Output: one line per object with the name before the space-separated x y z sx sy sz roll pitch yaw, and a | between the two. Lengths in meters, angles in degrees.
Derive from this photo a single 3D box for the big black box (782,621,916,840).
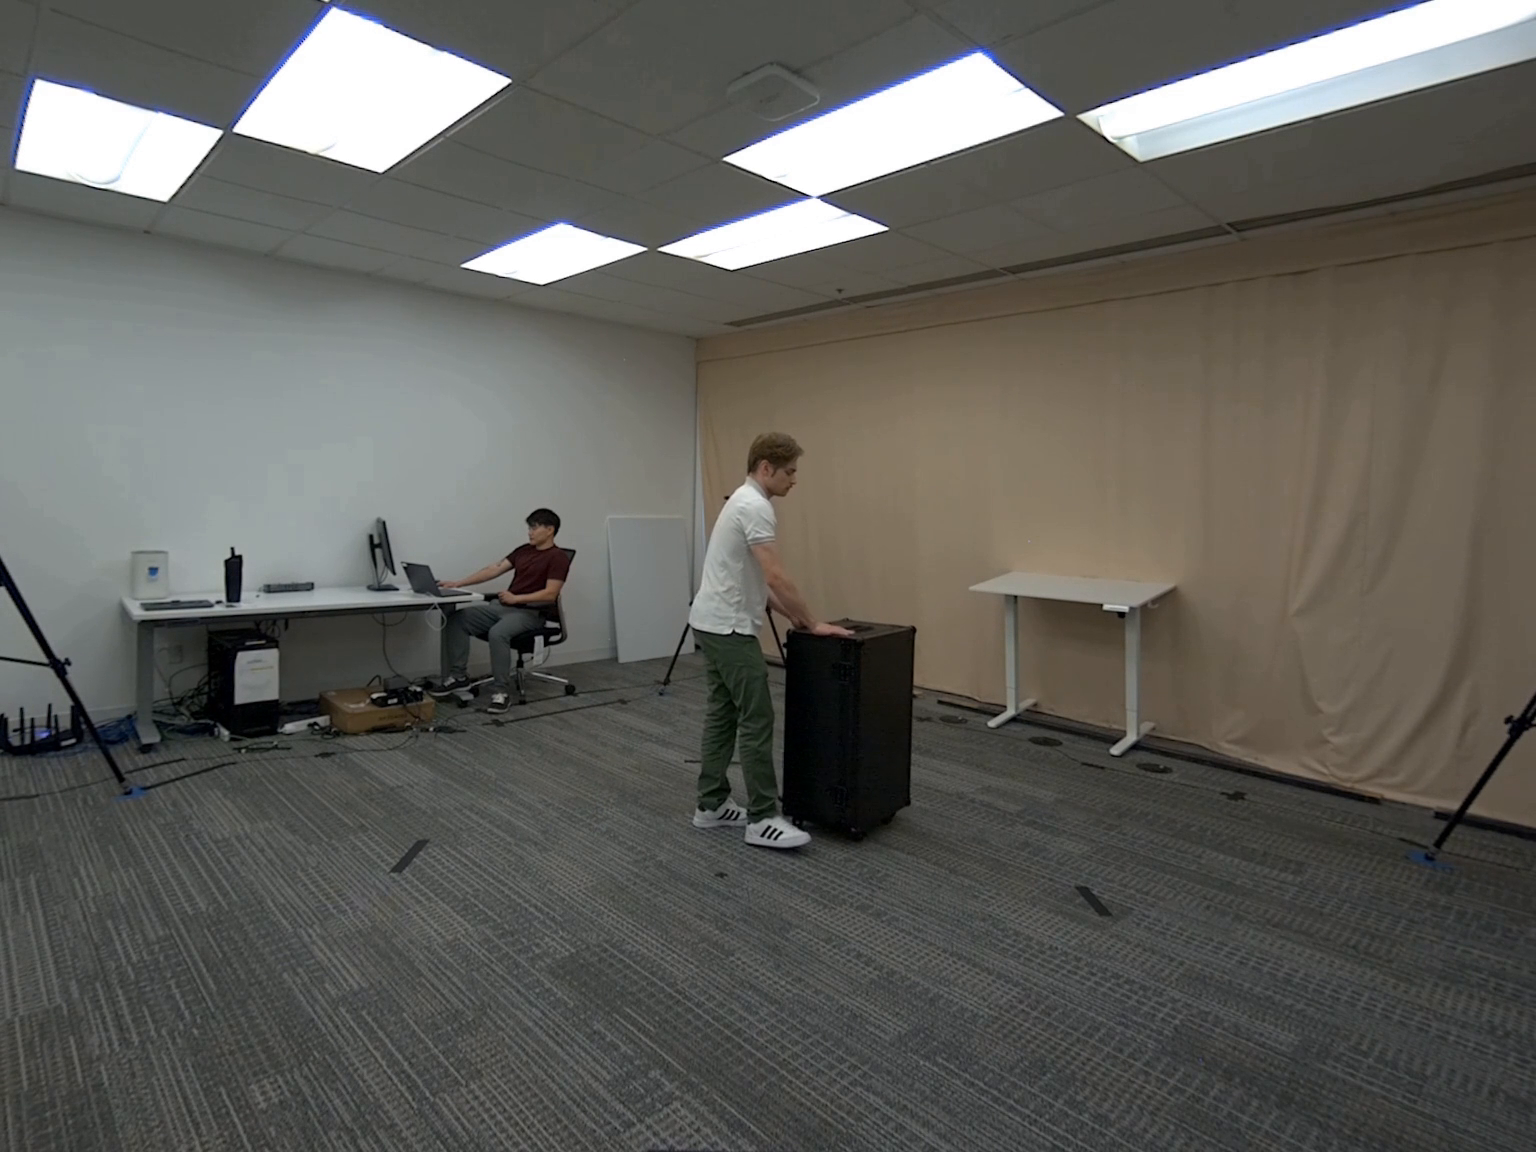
big black box | 0.338 0.650 3.595 0.394 0.867 0.512 4 3 35
